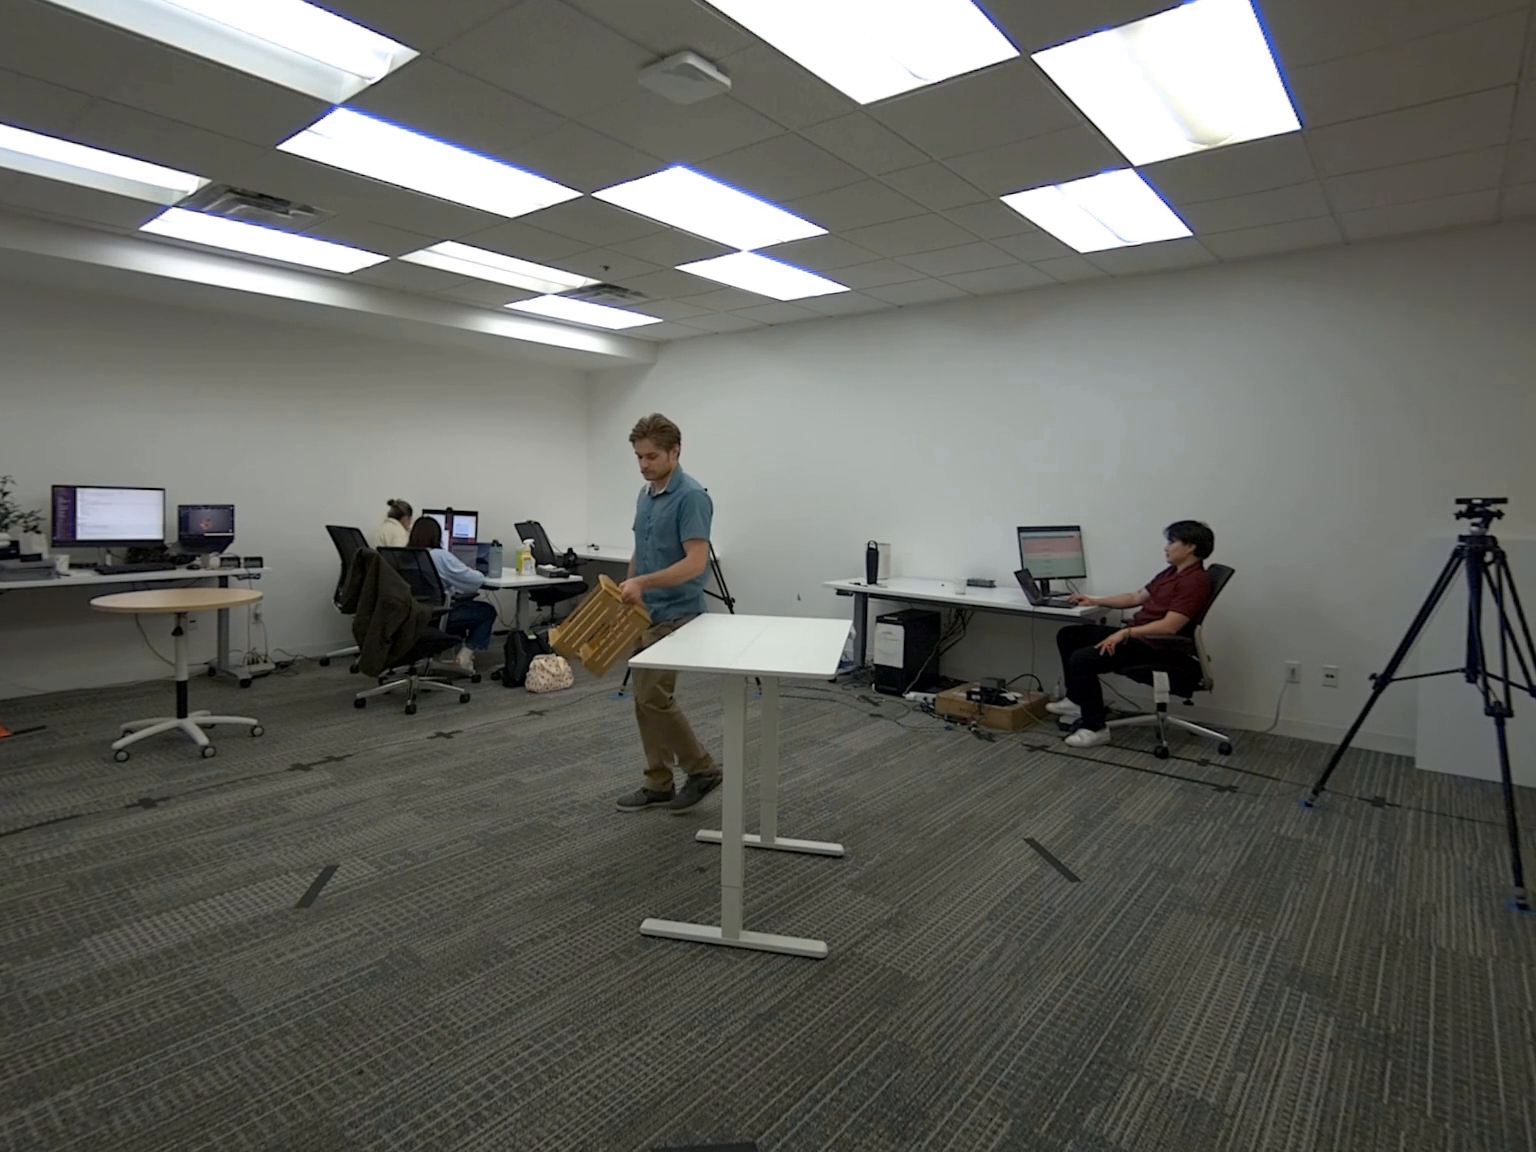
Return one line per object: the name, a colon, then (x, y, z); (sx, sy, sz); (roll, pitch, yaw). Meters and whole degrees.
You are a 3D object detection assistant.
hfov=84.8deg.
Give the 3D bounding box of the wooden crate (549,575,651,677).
wooden crate: (-0.688, 0.176, 3.368); (0.265, 0.324, 0.311); (41, 3, -25)
